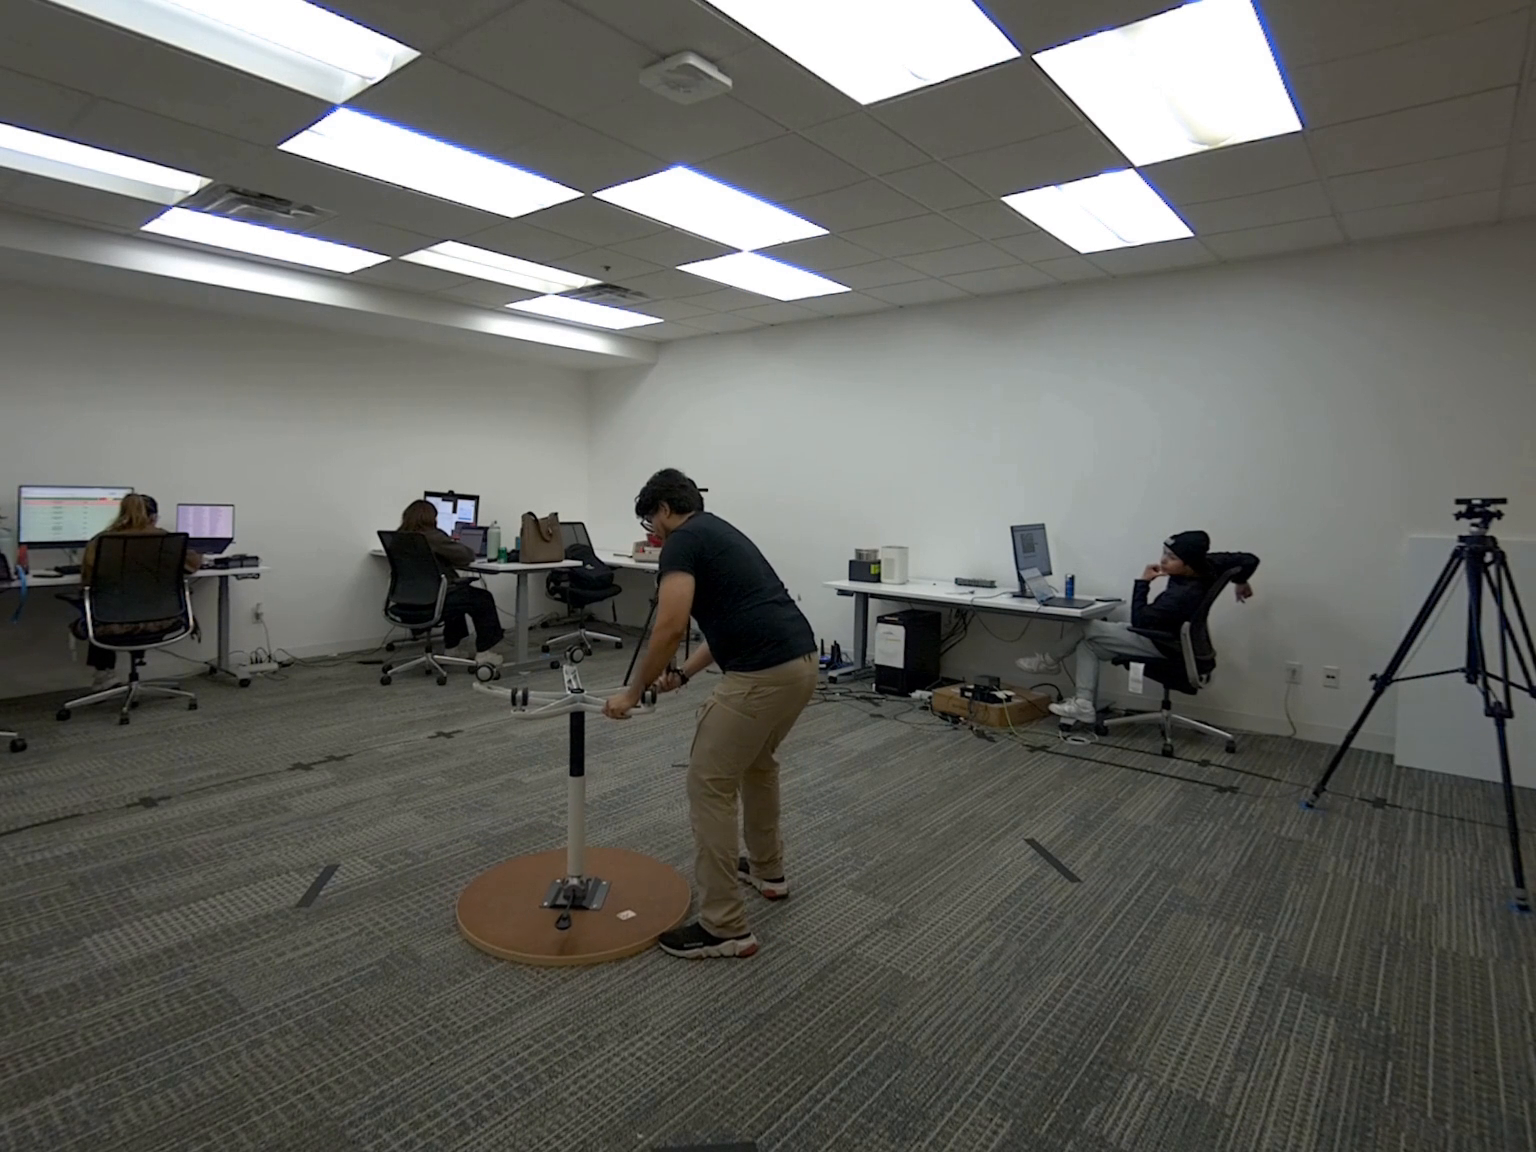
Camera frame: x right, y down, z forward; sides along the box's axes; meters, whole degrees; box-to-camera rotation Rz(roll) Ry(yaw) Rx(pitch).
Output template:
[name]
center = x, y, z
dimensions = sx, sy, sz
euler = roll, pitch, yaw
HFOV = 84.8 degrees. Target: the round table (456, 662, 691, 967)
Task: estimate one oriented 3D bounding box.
[round table]
center = -0.650, 0.691, 2.836
dimensions = 0.784, 0.784, 0.788
euler = 1, 3, -2
